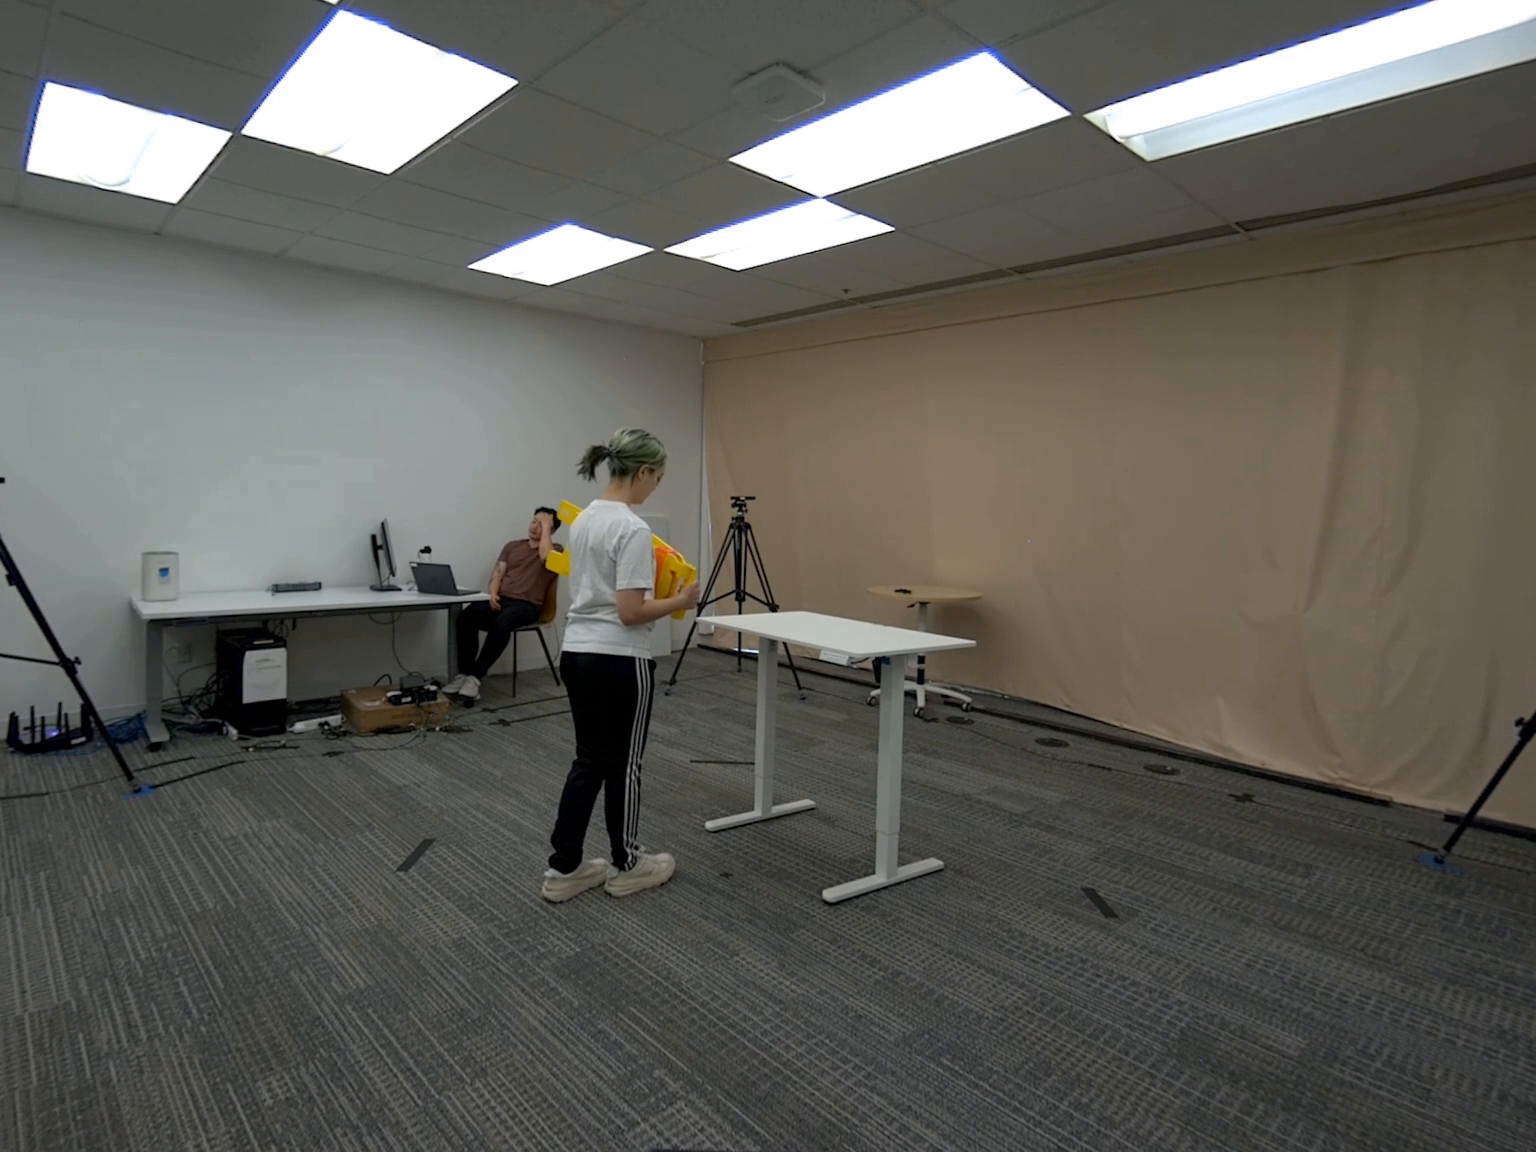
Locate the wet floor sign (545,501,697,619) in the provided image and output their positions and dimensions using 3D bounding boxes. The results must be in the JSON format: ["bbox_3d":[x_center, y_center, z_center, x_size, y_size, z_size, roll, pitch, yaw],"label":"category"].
[{"bbox_3d":[-0.522,-0.044,3.142,0.666,0.280,0.283,27,17,38],"label":"wet floor sign"}]
